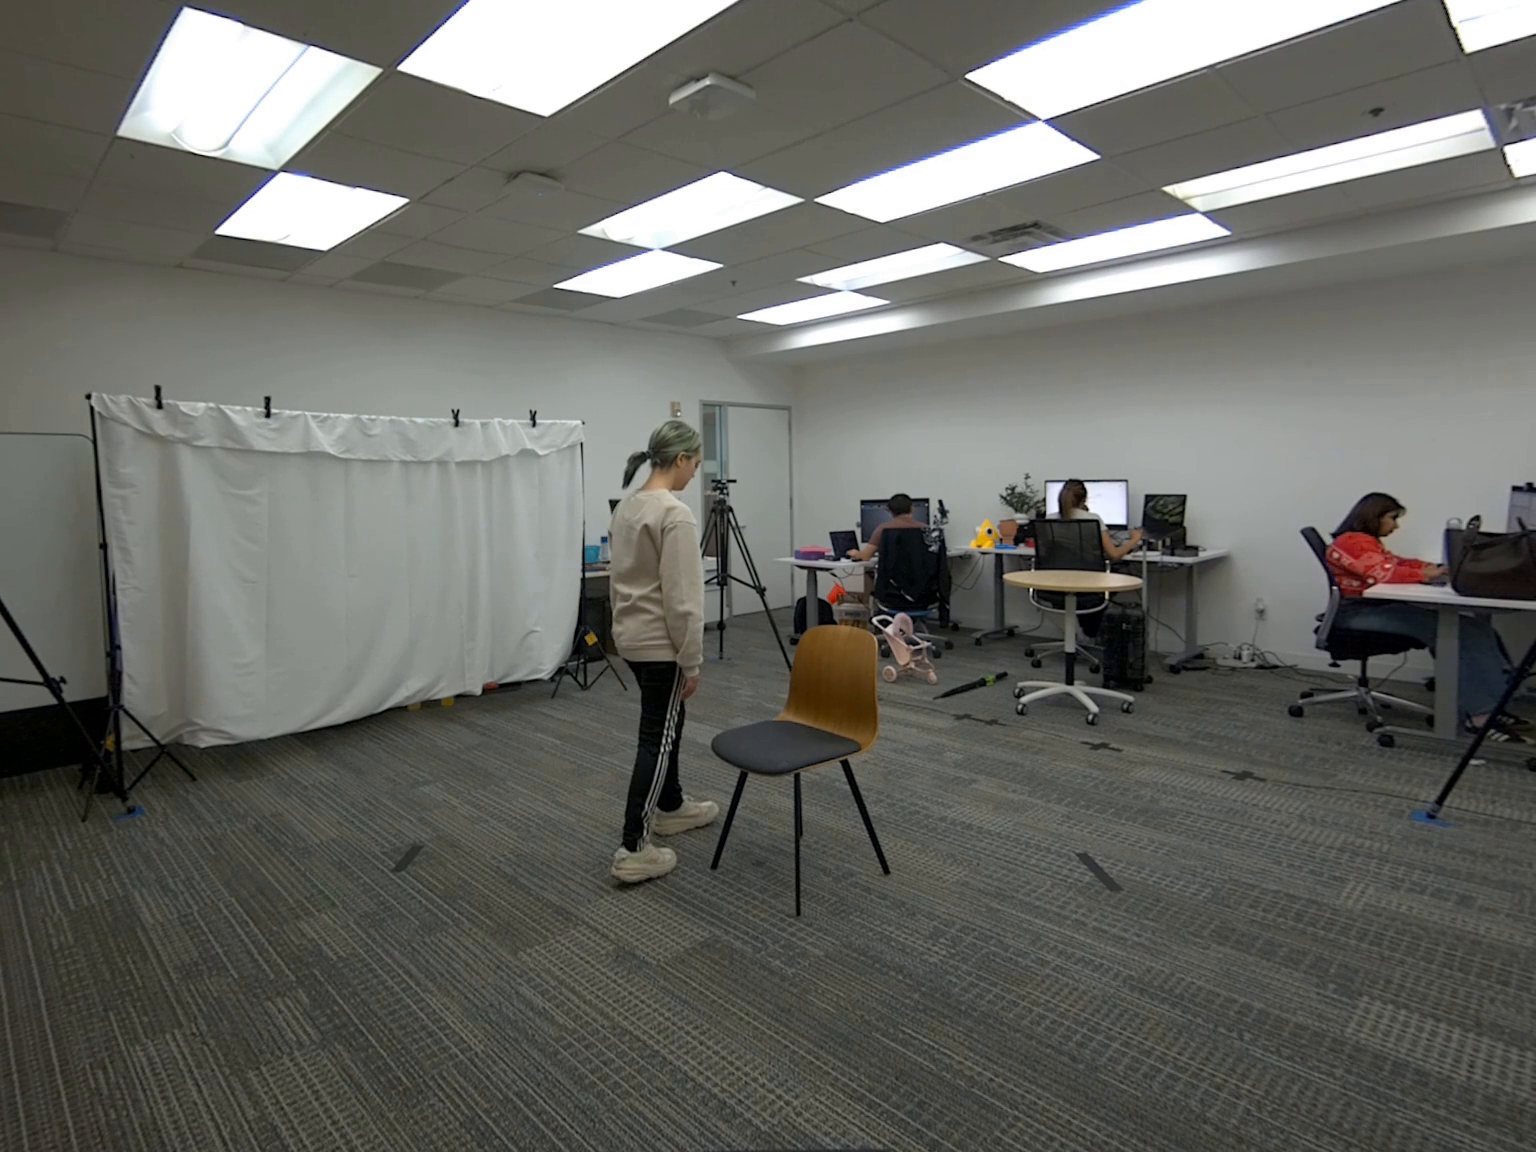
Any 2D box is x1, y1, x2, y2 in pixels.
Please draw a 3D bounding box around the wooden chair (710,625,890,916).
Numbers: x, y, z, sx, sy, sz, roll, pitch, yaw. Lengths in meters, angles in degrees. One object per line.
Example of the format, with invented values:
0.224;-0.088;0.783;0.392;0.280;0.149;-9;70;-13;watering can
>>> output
0.101;0.627;2.996;0.508;0.876;0.493;1;2;-41;wooden chair
